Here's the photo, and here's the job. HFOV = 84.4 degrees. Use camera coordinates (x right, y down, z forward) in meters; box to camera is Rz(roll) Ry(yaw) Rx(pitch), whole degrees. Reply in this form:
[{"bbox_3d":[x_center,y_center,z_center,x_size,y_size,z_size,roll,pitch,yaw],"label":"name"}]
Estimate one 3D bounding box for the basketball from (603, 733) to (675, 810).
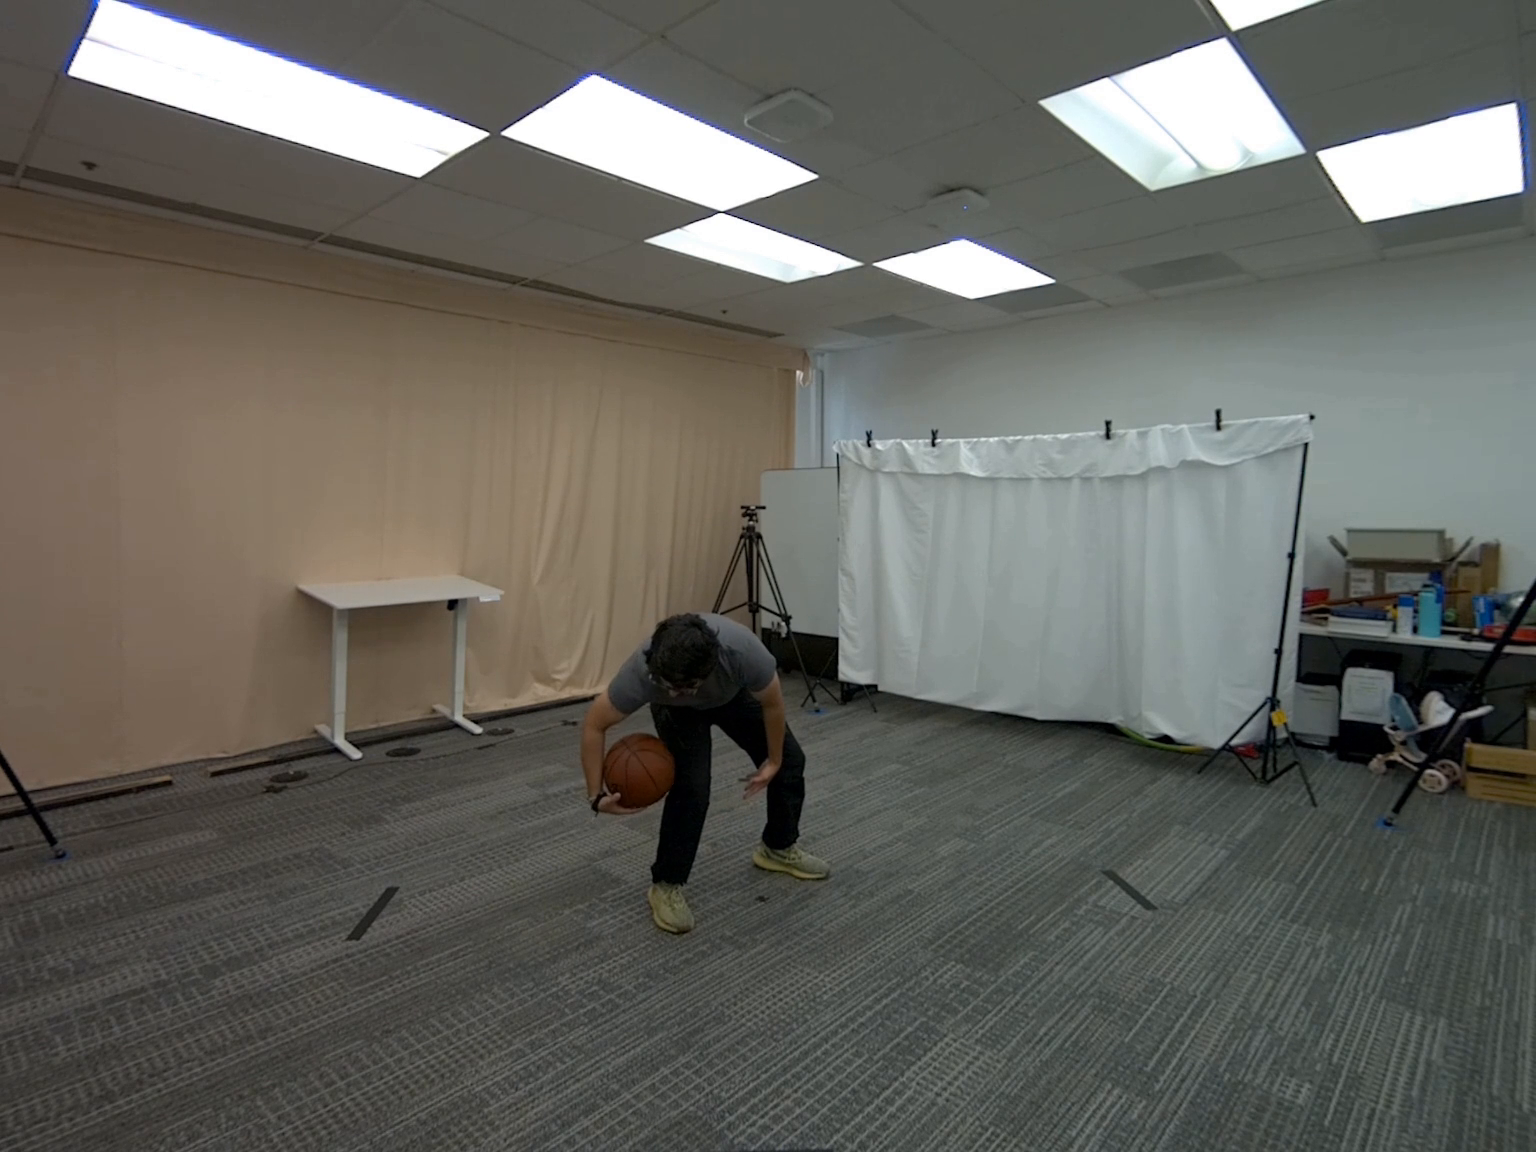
[{"bbox_3d":[-0.423,0.644,2.783,0.236,0.235,0.237,0,4,-2],"label":"basketball"}]
